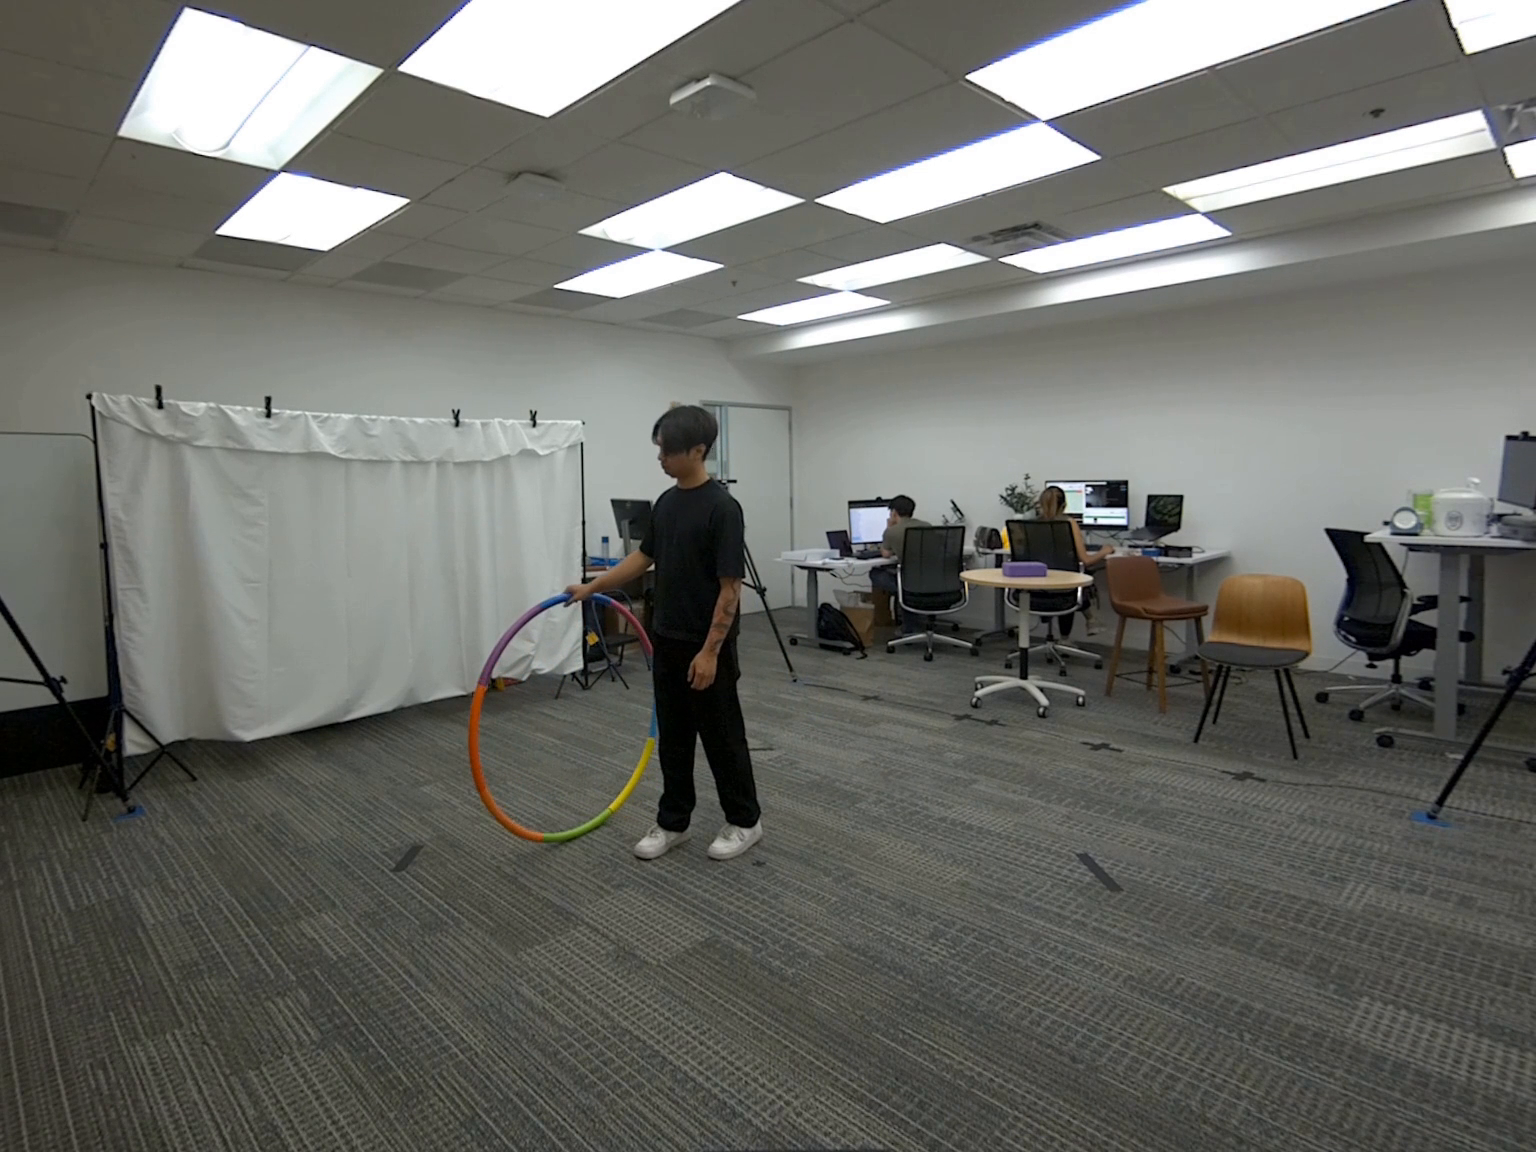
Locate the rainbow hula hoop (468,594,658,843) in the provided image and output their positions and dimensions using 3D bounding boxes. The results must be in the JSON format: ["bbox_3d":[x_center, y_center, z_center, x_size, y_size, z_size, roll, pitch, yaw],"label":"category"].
[{"bbox_3d":[-0.758,0.550,3.378,0.036,0.976,0.955,-1,4,35],"label":"rainbow hula hoop"}]
